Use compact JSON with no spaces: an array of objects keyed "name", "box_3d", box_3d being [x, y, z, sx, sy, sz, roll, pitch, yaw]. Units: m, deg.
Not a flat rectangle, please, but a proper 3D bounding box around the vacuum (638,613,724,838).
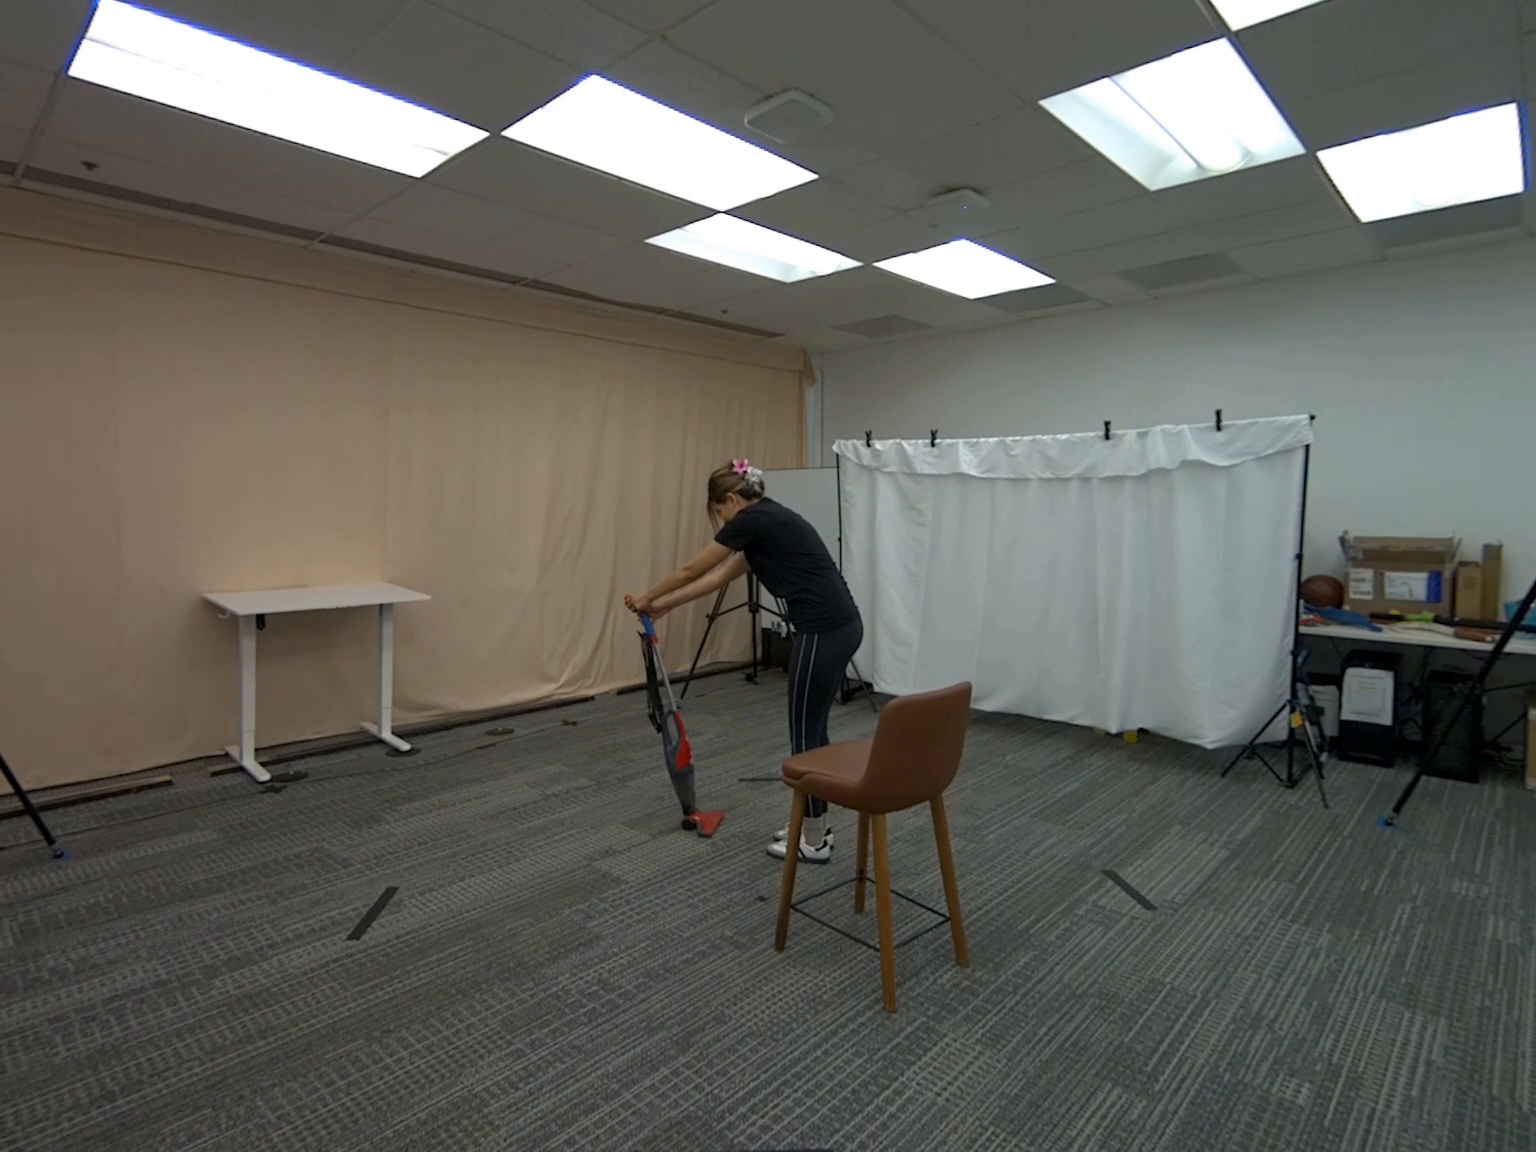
[{"name":"vacuum","box_3d":[-0.444,0.593,3.666,0.146,1.050,0.249,-19,-1,16]}]
